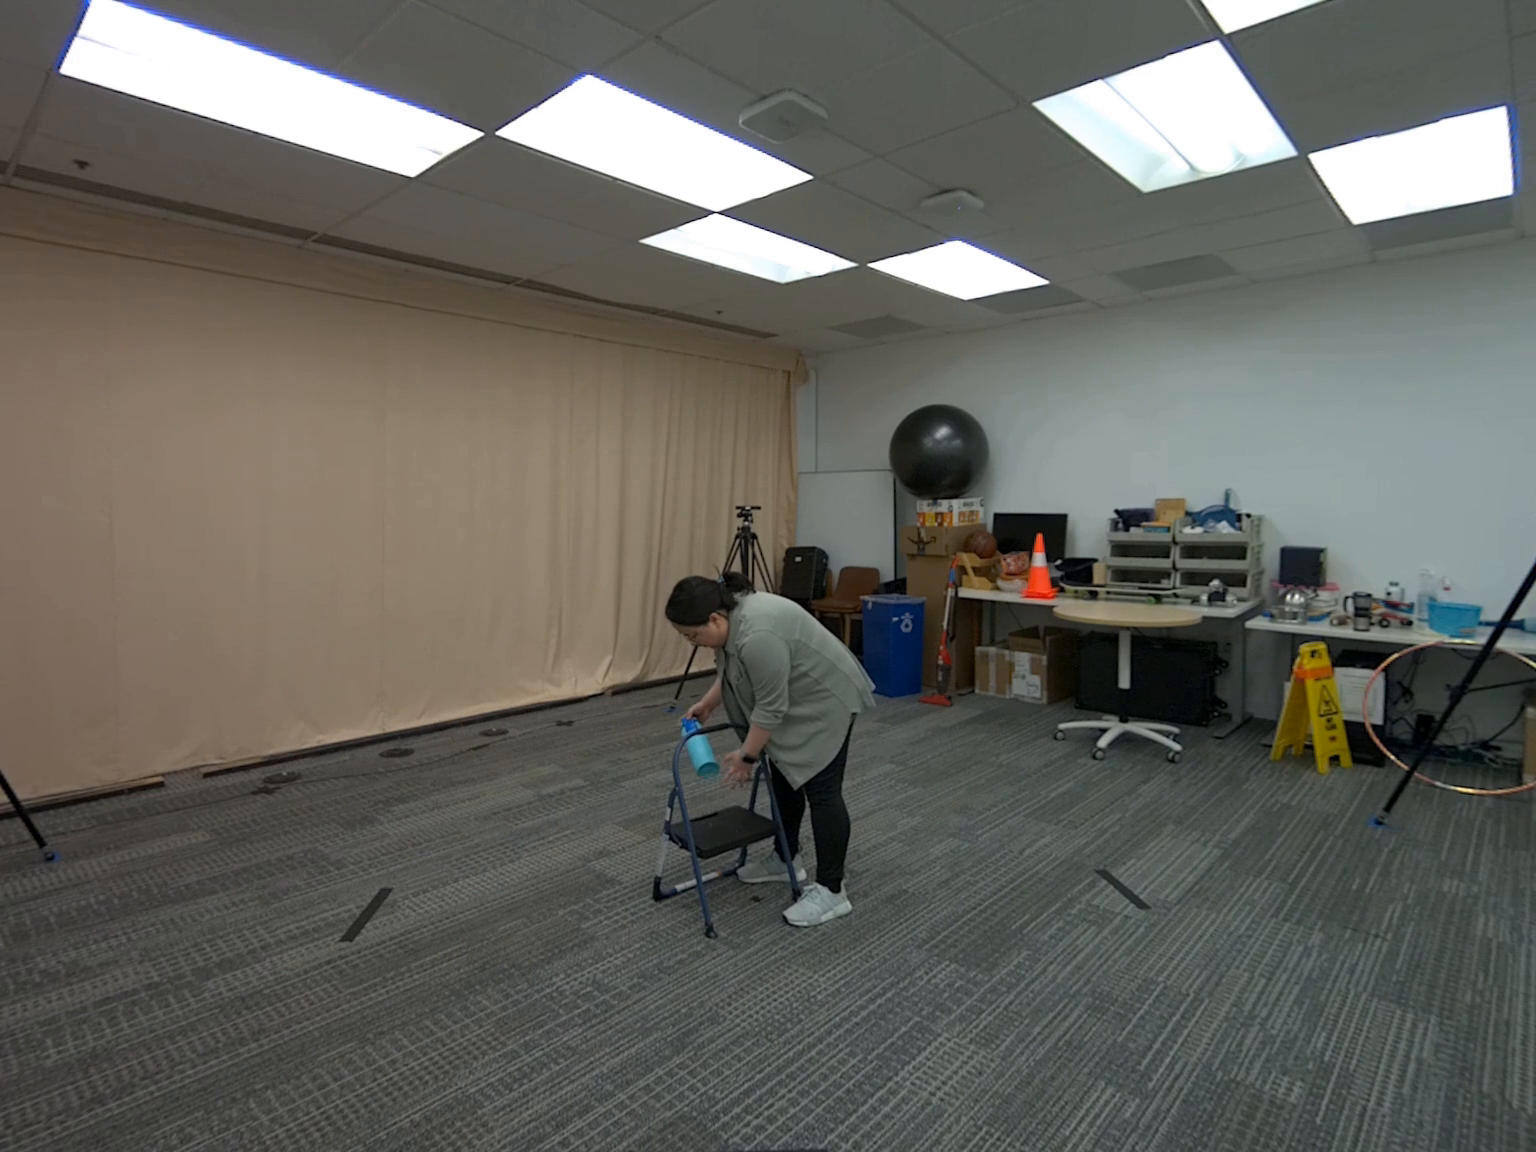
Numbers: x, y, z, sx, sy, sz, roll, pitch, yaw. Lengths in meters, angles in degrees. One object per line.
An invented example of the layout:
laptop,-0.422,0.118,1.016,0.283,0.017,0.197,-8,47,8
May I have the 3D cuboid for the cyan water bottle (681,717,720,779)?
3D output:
cyan water bottle,-0.266,0.636,3.178,0.090,0.091,0.292,-2,30,-21
